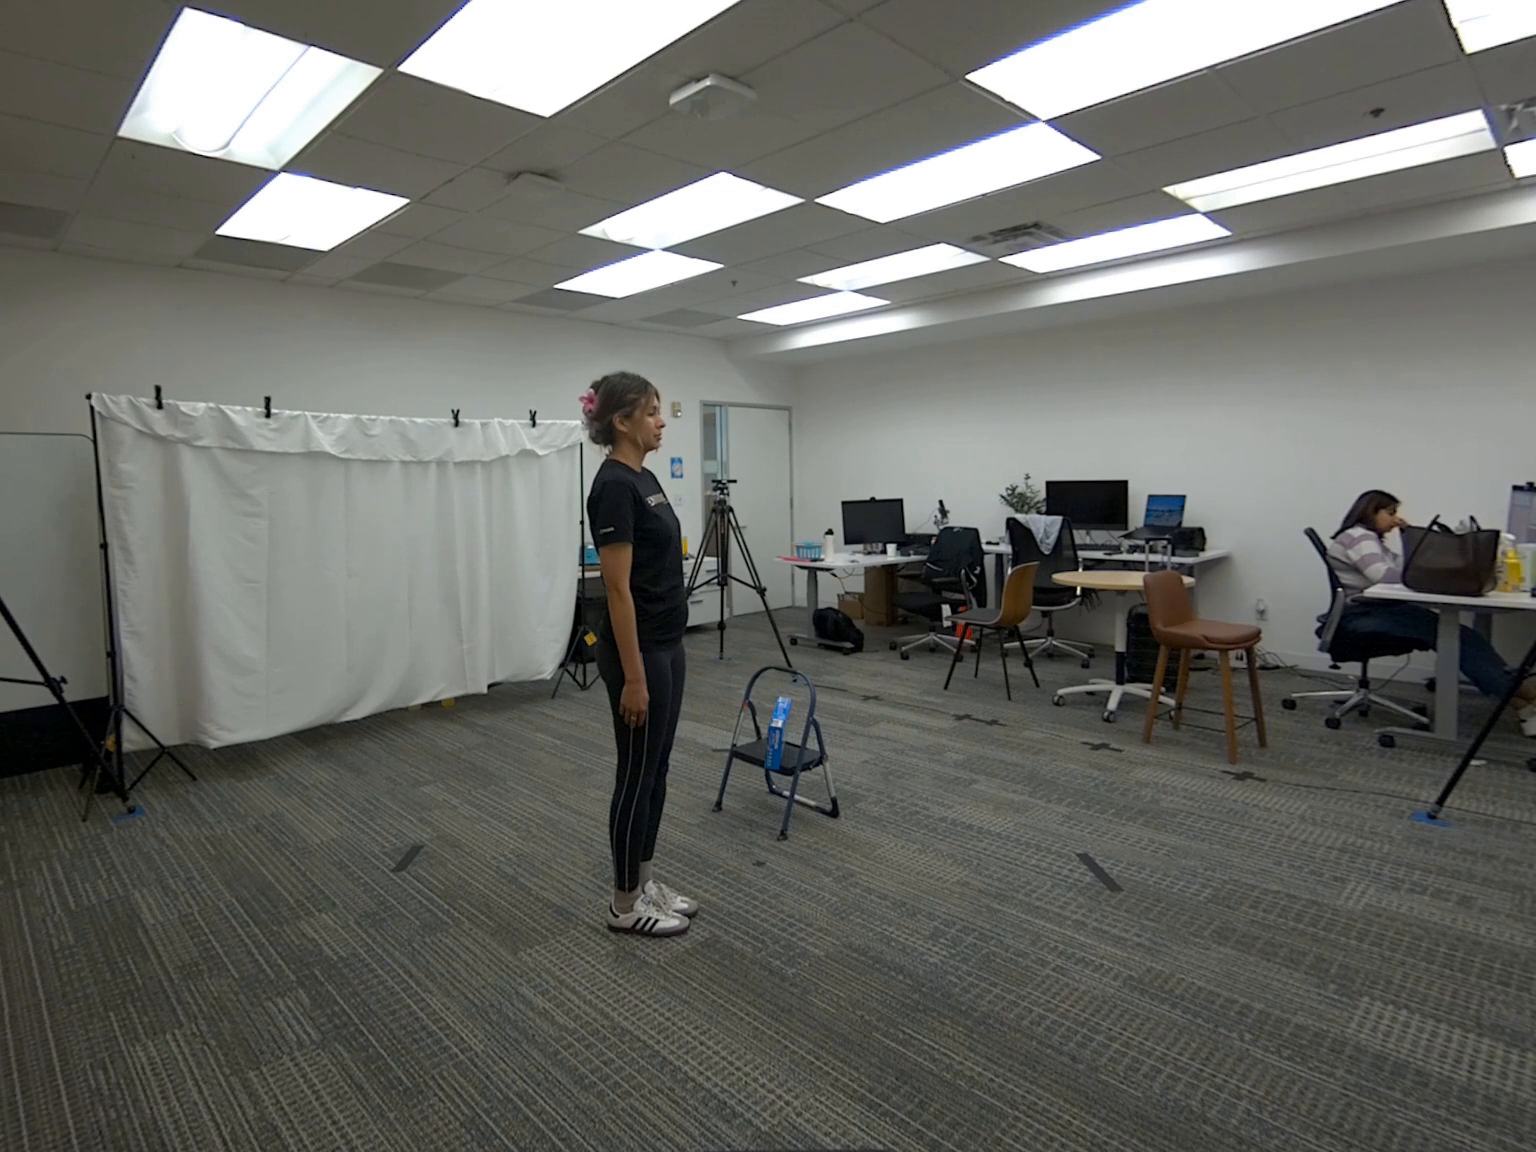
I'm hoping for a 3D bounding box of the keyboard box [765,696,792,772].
[{"bbox_3d":[0.045,0.648,3.560,0.059,0.175,0.436,5,7,5],"label":"keyboard box"}]
